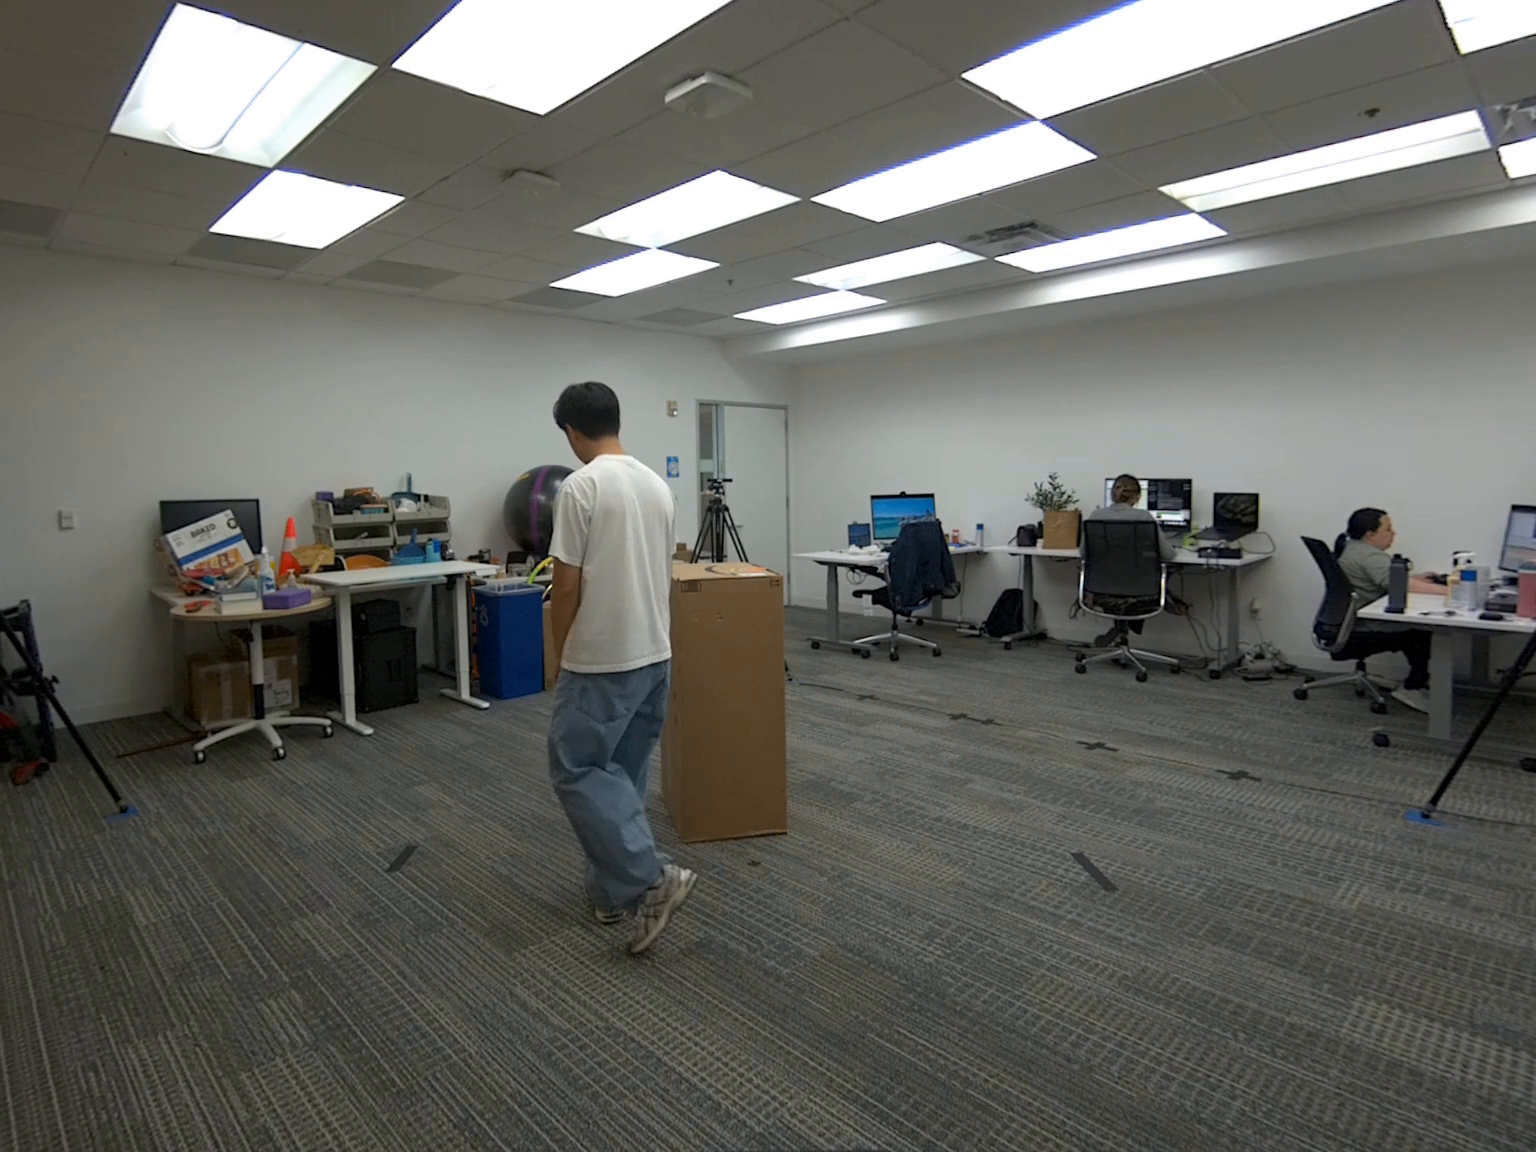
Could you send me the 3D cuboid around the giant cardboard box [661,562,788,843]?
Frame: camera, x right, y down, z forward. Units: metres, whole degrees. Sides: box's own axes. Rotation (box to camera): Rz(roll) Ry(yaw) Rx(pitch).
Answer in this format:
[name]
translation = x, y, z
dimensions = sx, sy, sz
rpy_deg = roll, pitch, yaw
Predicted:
[giant cardboard box]
translation = -0.205, 0.487, 3.571
dimensions = 0.420, 1.023, 0.587
rpy_deg = -2, 4, -16
